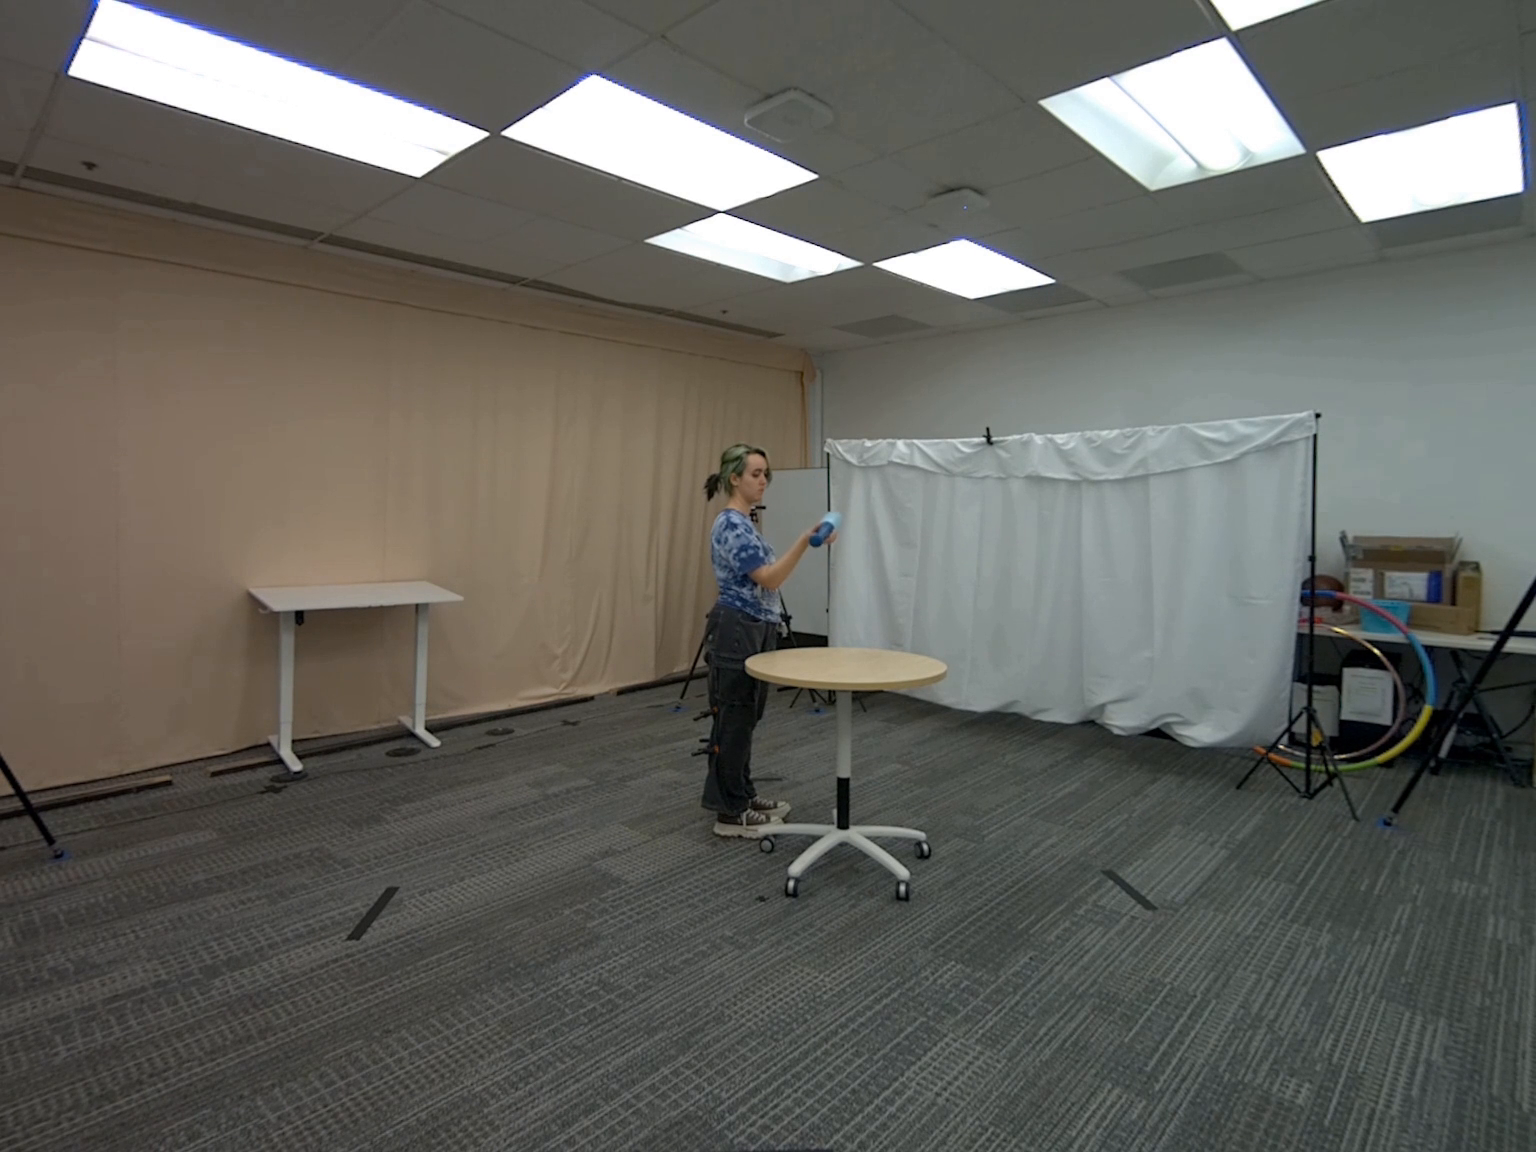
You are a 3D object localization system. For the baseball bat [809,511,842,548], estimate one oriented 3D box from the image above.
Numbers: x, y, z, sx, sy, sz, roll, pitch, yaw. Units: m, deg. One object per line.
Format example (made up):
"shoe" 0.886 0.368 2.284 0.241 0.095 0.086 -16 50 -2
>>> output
"baseball bat" 0.231 -0.171 3.274 0.090 0.088 0.539 1 12 12
